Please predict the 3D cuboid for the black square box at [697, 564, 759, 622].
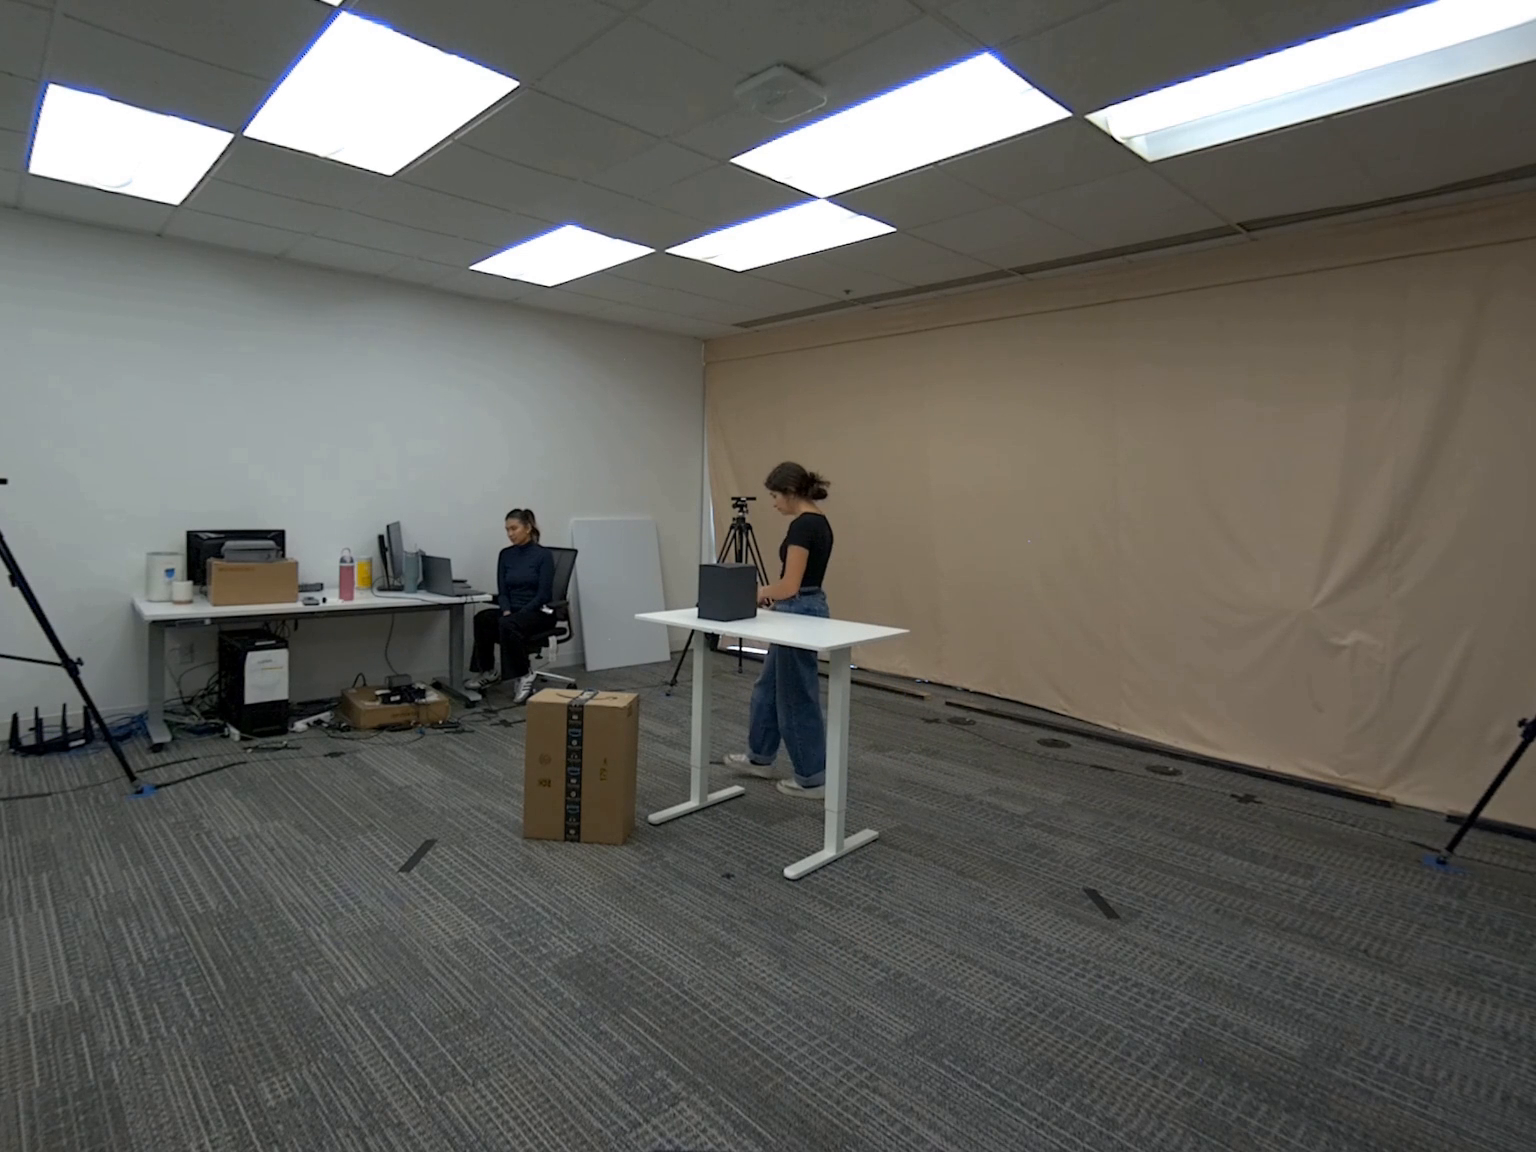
[{"bbox_3d":[-0.175,0.065,3.596,0.160,0.227,0.212,5,5,39],"label":"black square box"}]
